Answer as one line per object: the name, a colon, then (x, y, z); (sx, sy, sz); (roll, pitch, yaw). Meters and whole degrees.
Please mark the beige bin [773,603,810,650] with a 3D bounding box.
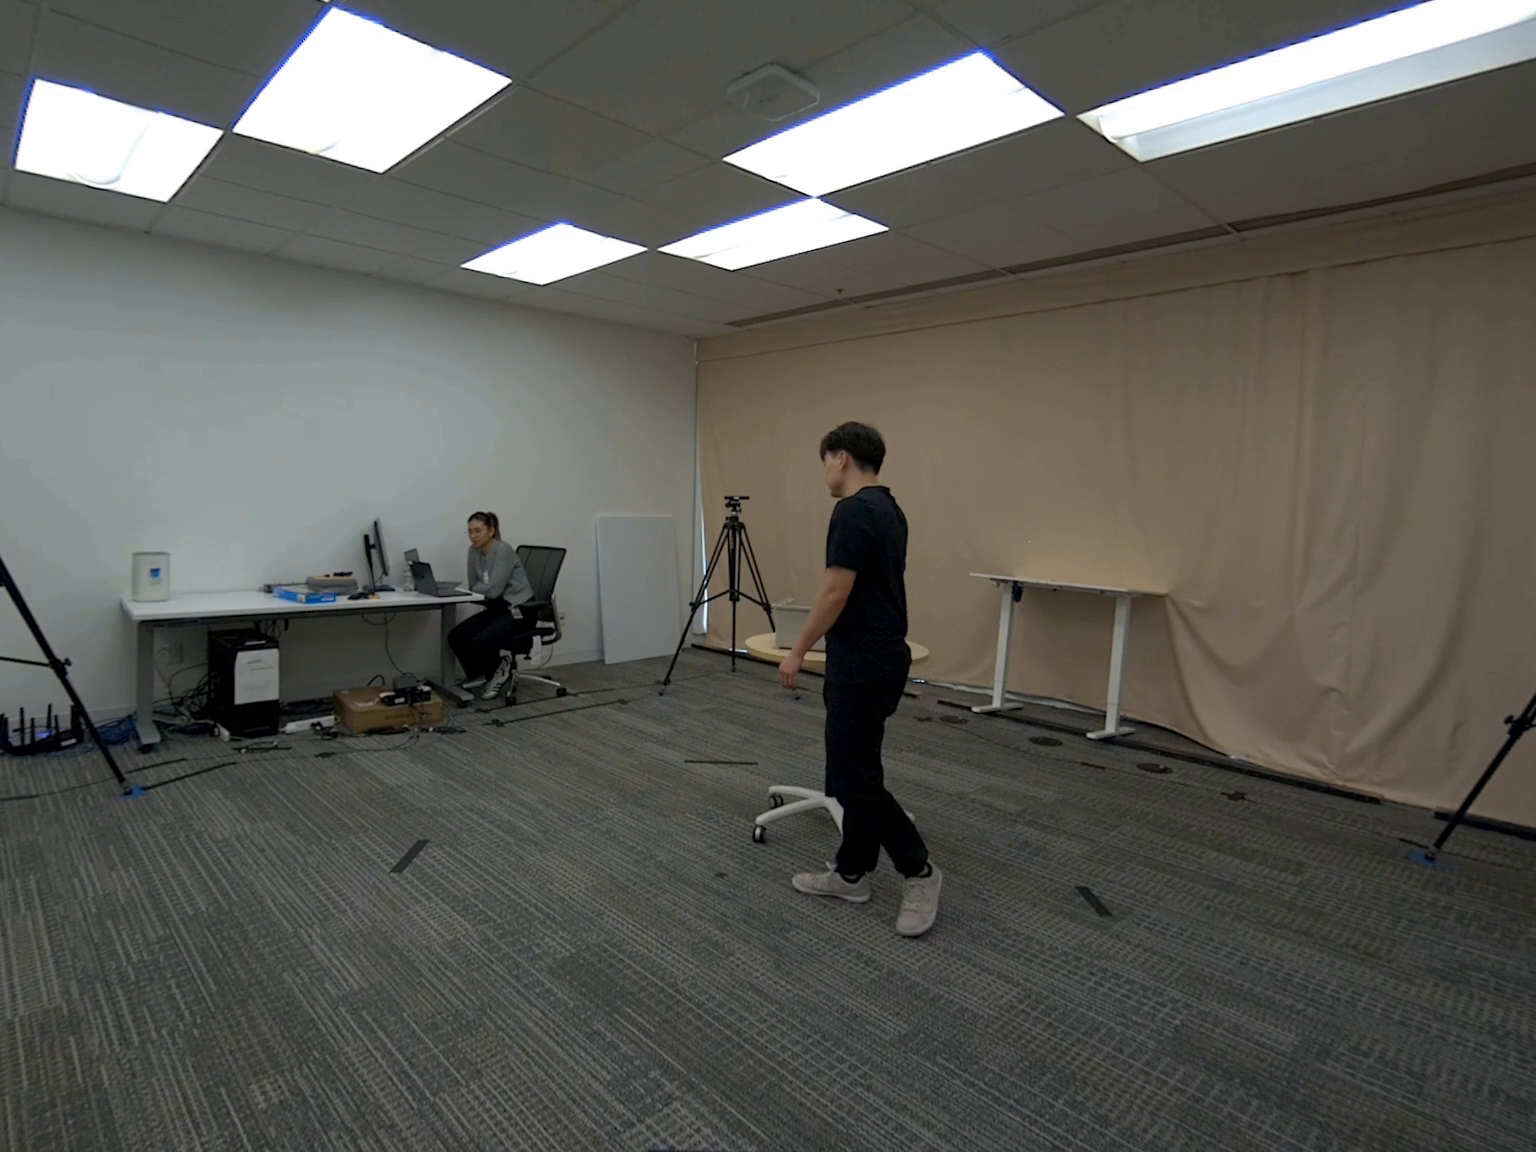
beige bin: (0.257, 0.209, 3.516); (0.428, 0.188, 0.374); (3, 6, 15)
